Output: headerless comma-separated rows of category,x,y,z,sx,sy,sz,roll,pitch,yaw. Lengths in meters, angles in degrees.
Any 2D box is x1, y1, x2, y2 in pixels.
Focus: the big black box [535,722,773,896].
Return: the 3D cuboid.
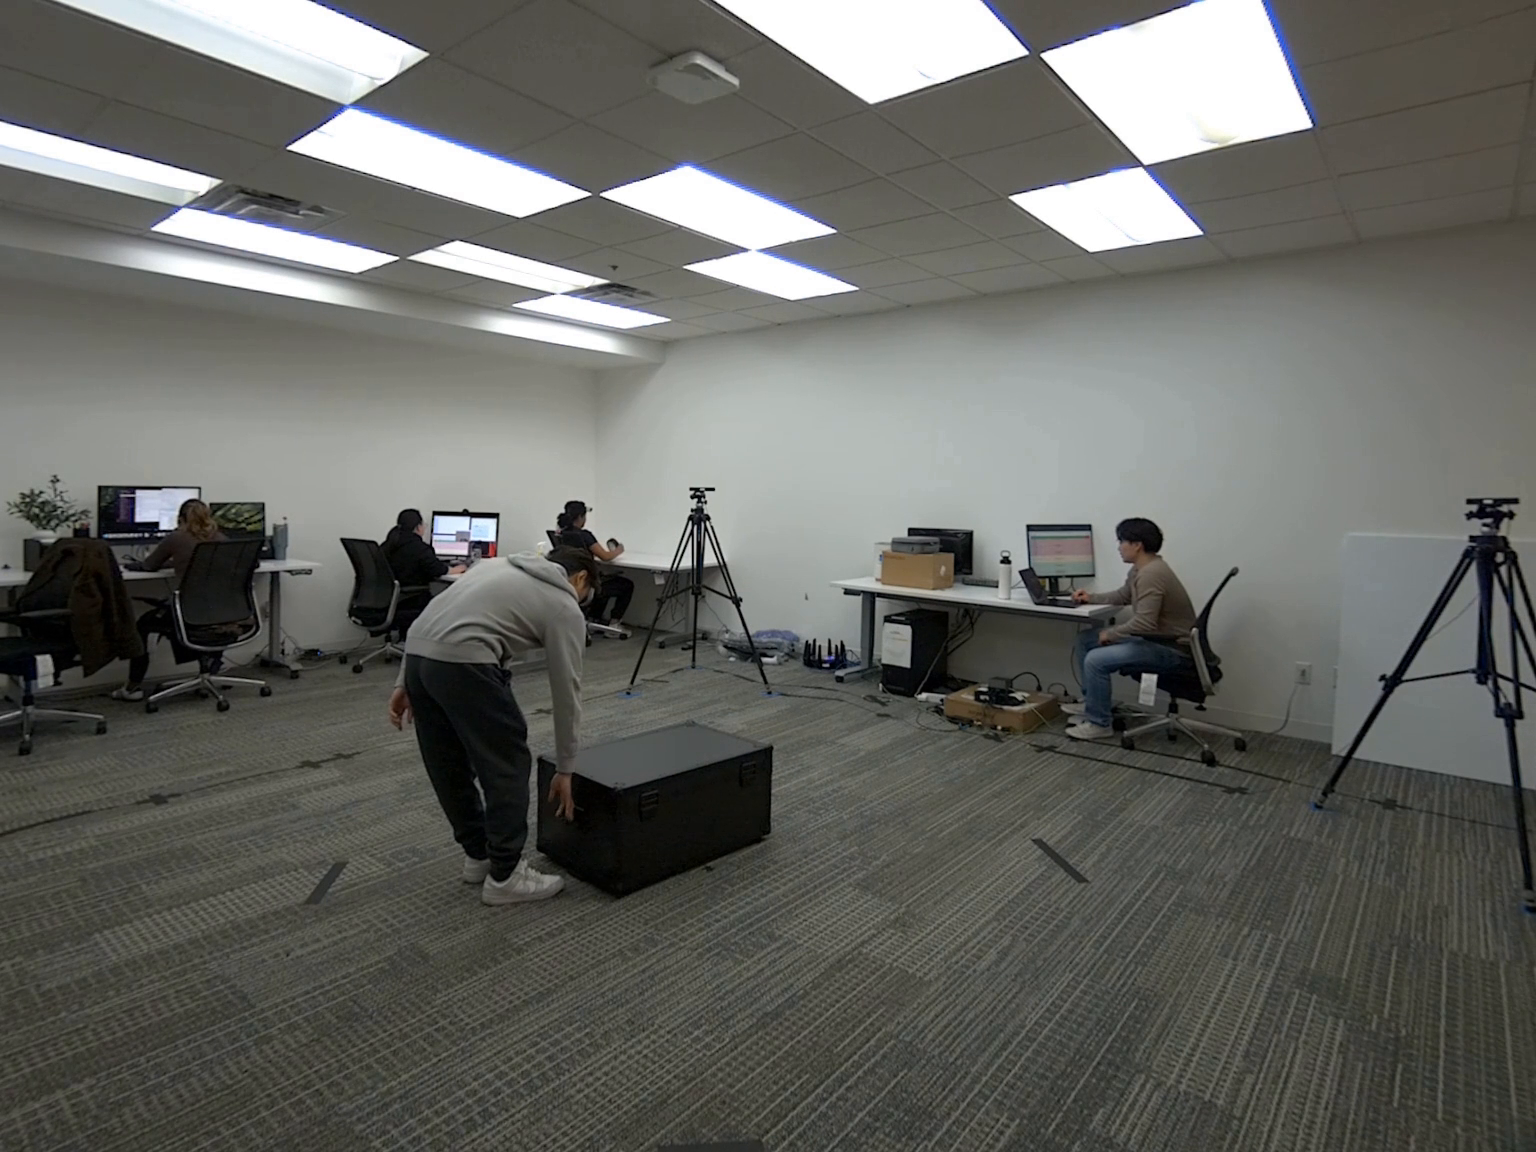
big black box,-0.407,0.855,3.292,0.539,0.394,0.836,6,7,43
